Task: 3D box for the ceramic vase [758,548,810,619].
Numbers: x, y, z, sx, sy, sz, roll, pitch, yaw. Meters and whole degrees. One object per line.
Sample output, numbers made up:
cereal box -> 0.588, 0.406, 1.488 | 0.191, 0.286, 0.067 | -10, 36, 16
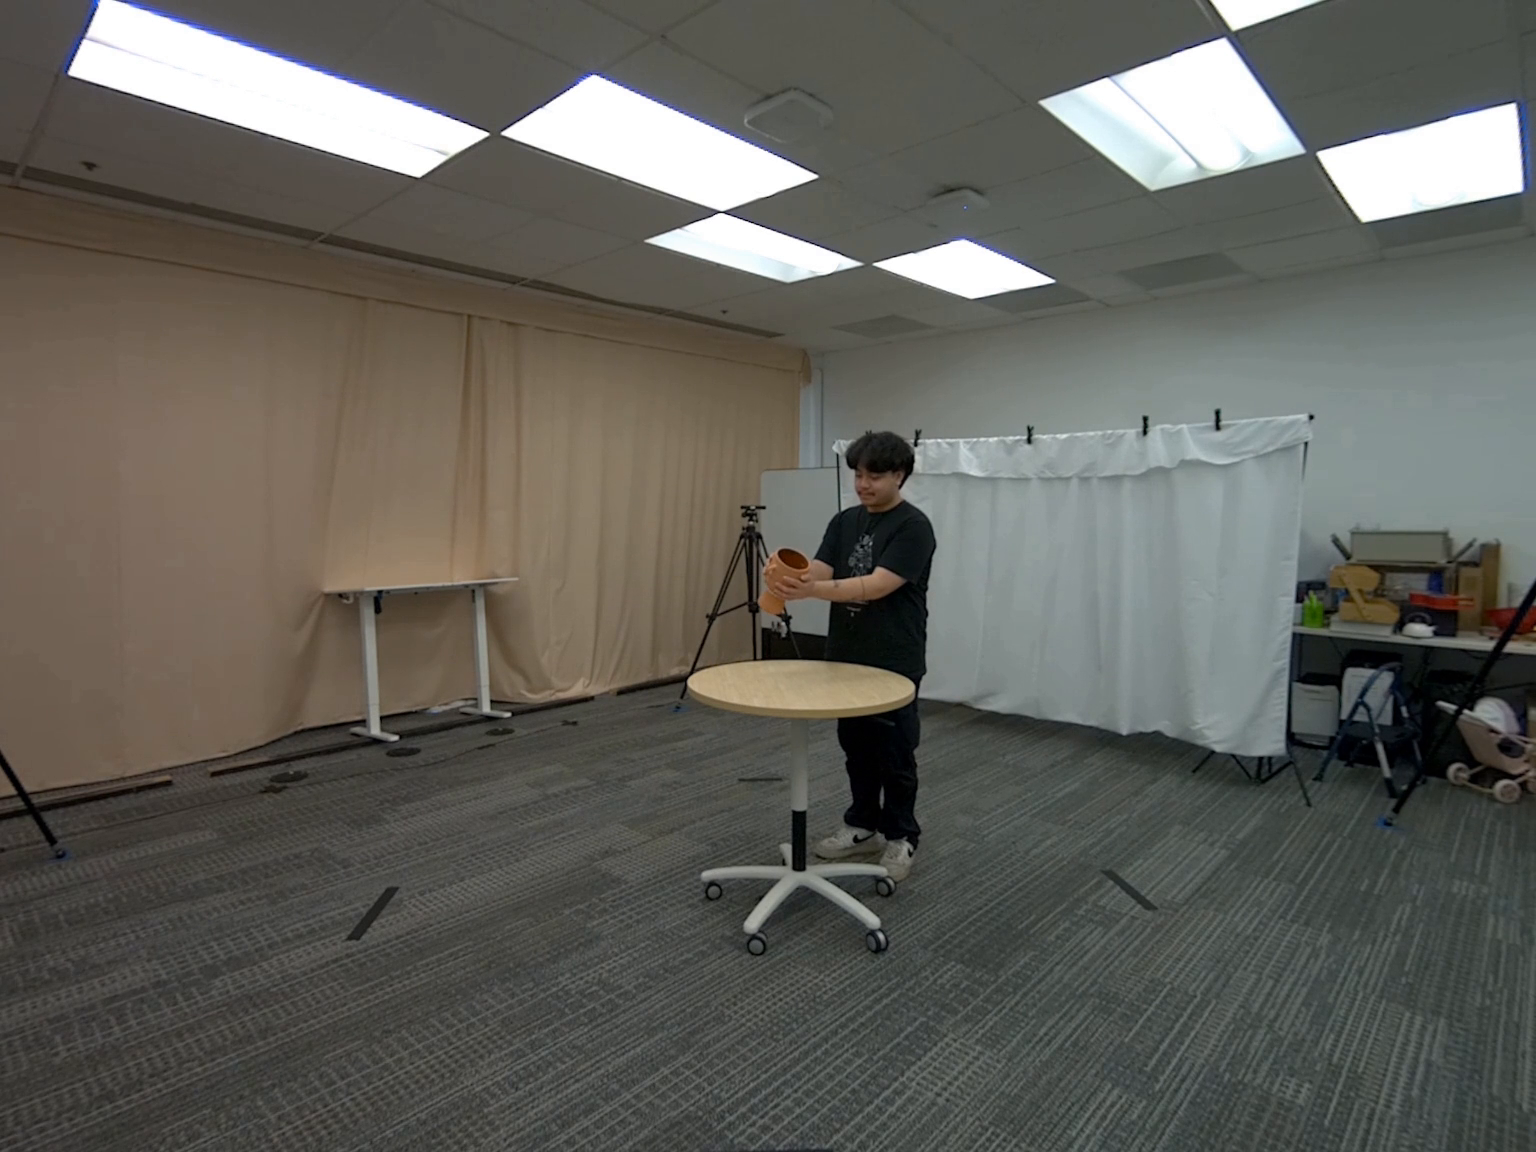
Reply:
ceramic vase -> 0.056, 0.025, 2.994 | 0.158, 0.219, 0.136 | 22, 33, -5
